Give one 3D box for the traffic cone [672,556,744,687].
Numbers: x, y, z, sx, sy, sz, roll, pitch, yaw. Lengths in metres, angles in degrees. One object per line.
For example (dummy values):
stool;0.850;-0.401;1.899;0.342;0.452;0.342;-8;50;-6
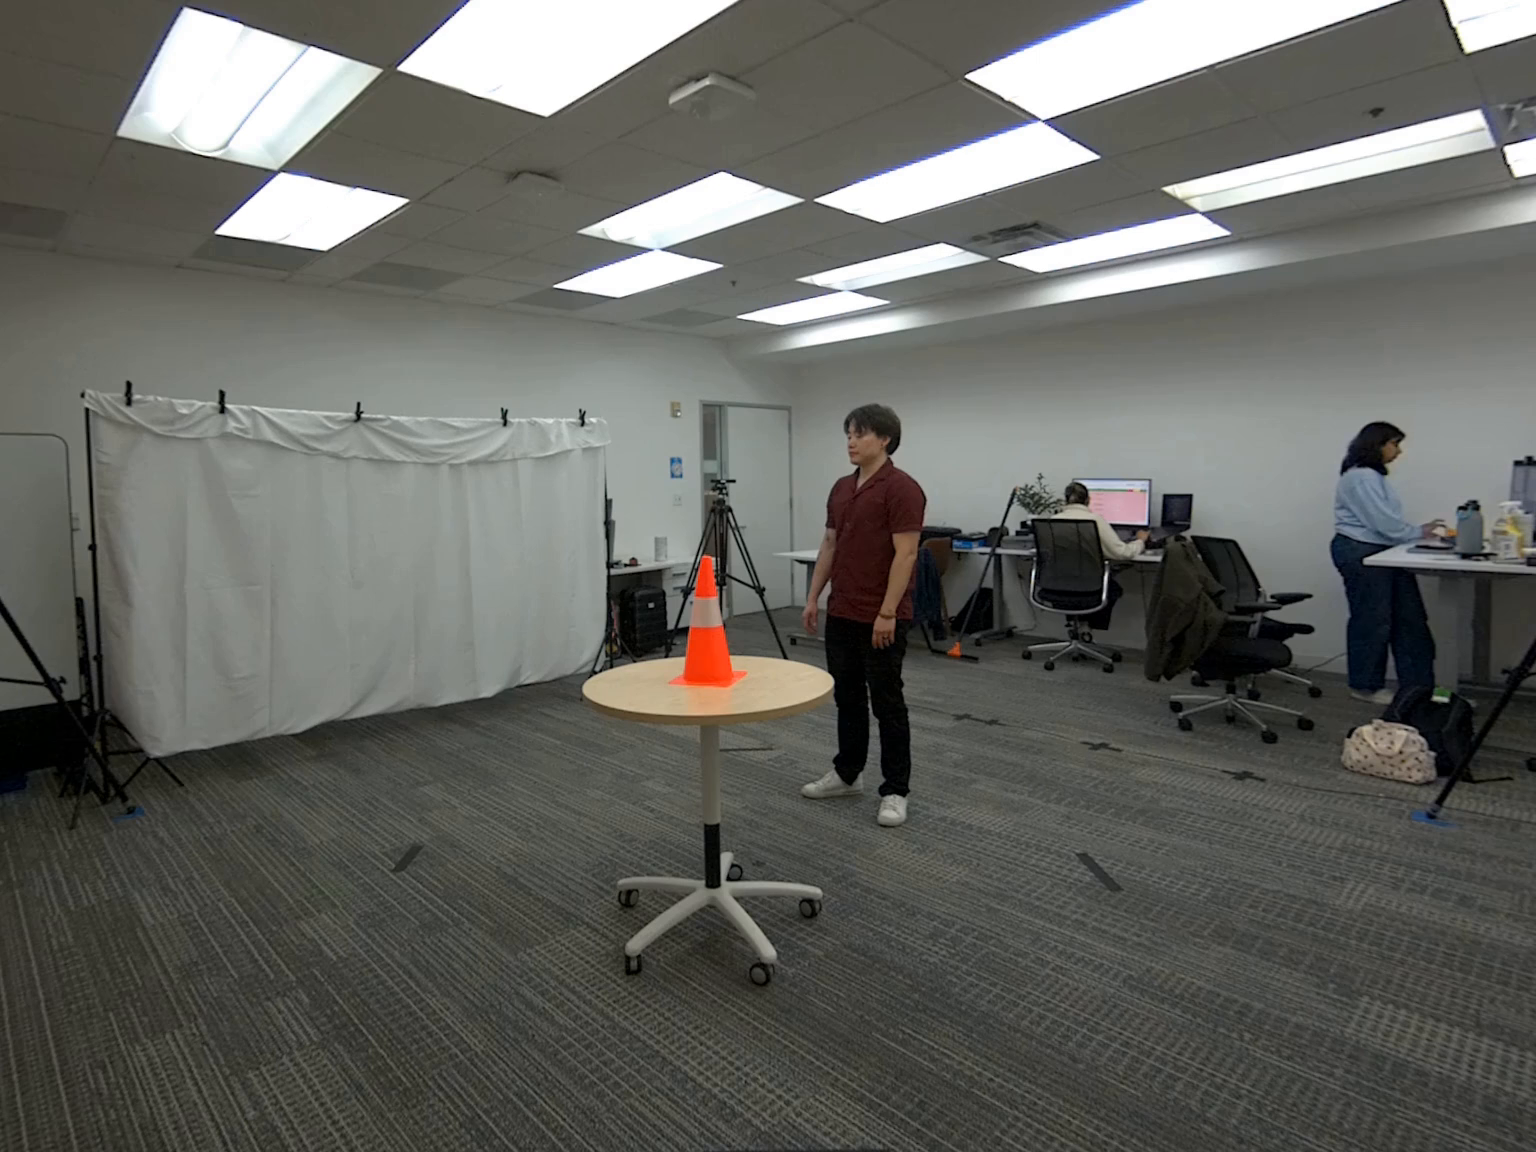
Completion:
traffic cone;-0.188;0.133;2.644;0.206;0.382;0.202;-2;4;15
